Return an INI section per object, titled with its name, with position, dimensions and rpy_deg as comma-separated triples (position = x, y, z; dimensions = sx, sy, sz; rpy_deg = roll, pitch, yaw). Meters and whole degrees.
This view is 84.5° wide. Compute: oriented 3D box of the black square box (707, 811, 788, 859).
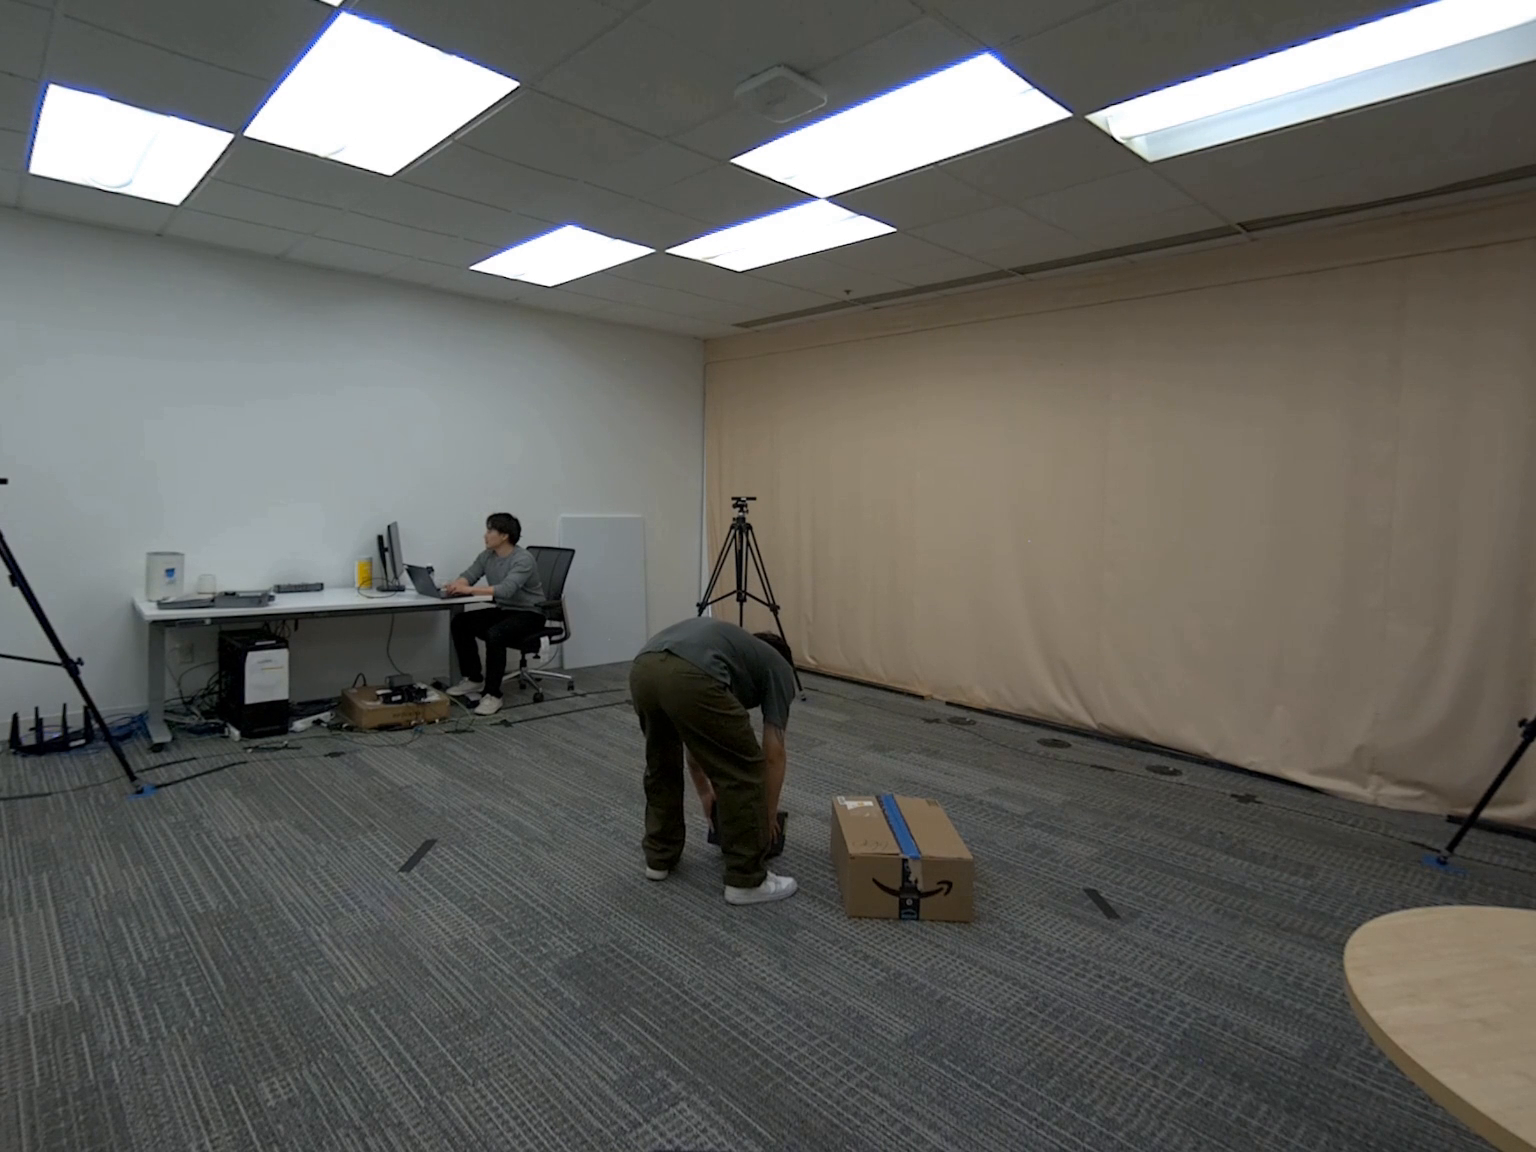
[black square box]
position = -0.076, 0.987, 3.302
dimensions = 0.232, 0.157, 0.211
rpy_deg = 1, -11, 27
